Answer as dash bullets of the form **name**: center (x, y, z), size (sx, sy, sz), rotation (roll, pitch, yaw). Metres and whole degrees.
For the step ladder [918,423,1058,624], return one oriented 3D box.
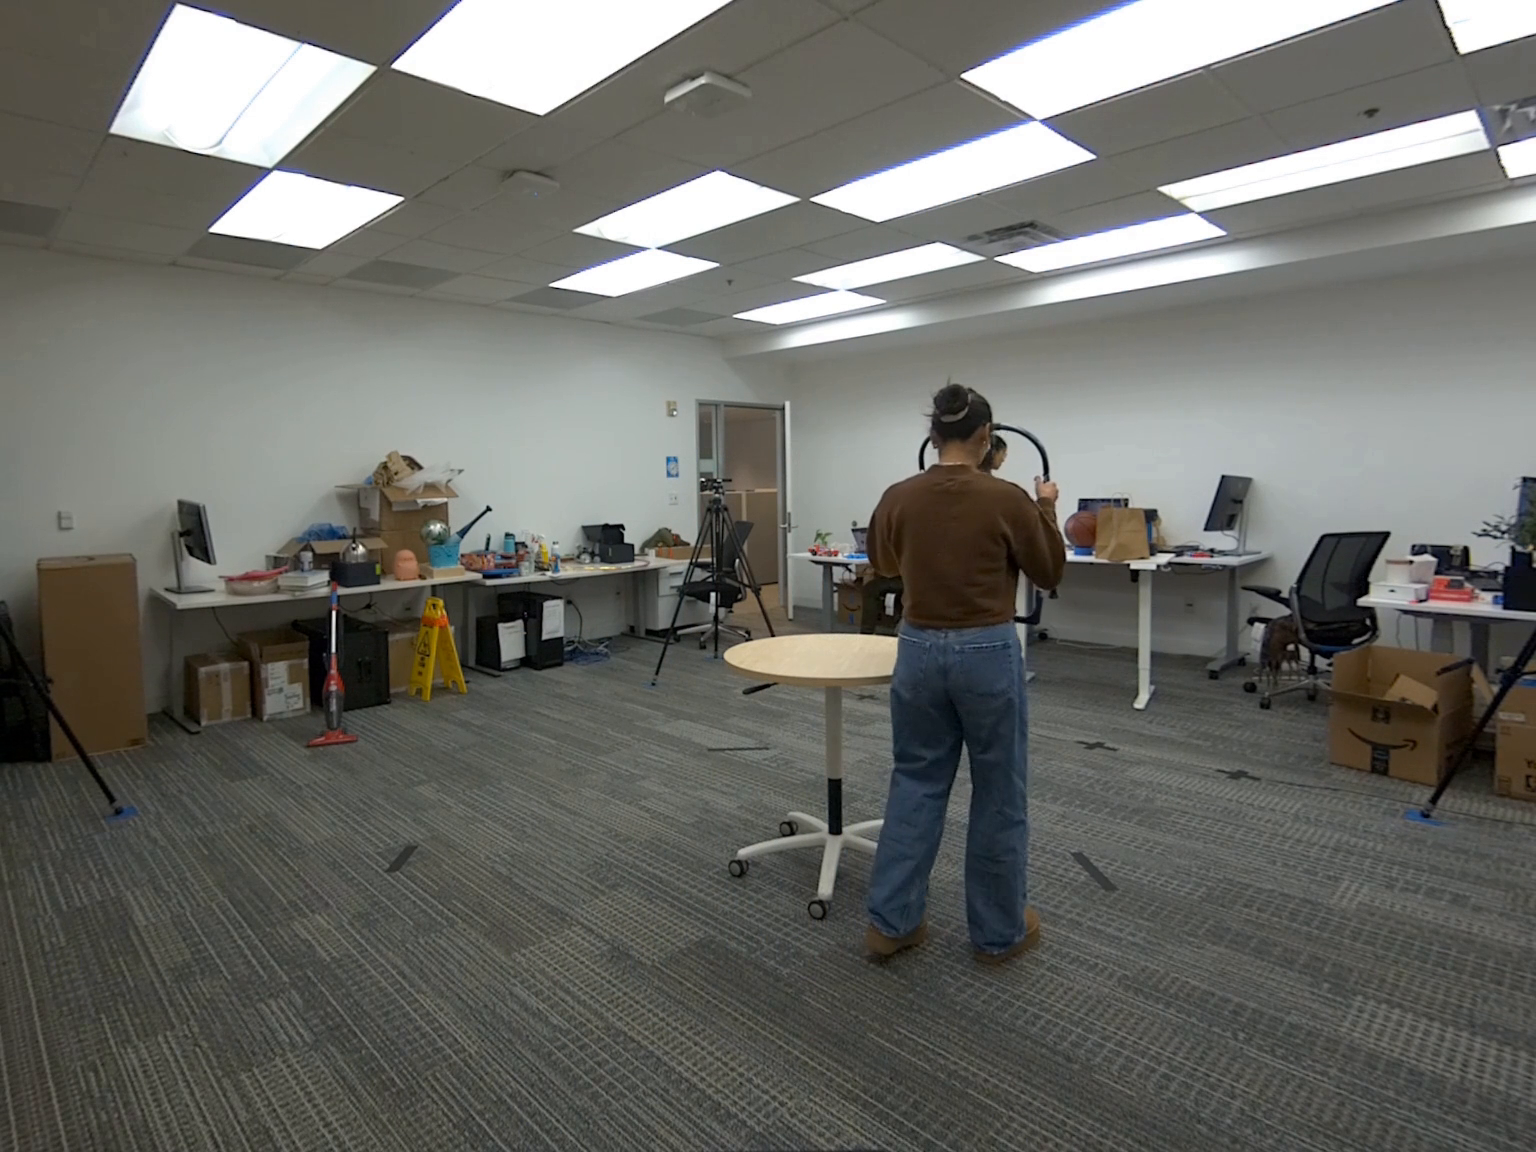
- **step ladder**: center (0.701, -0.202, 2.769), size (0.441, 0.599, 0.344), rotation (2, 13, 28)
